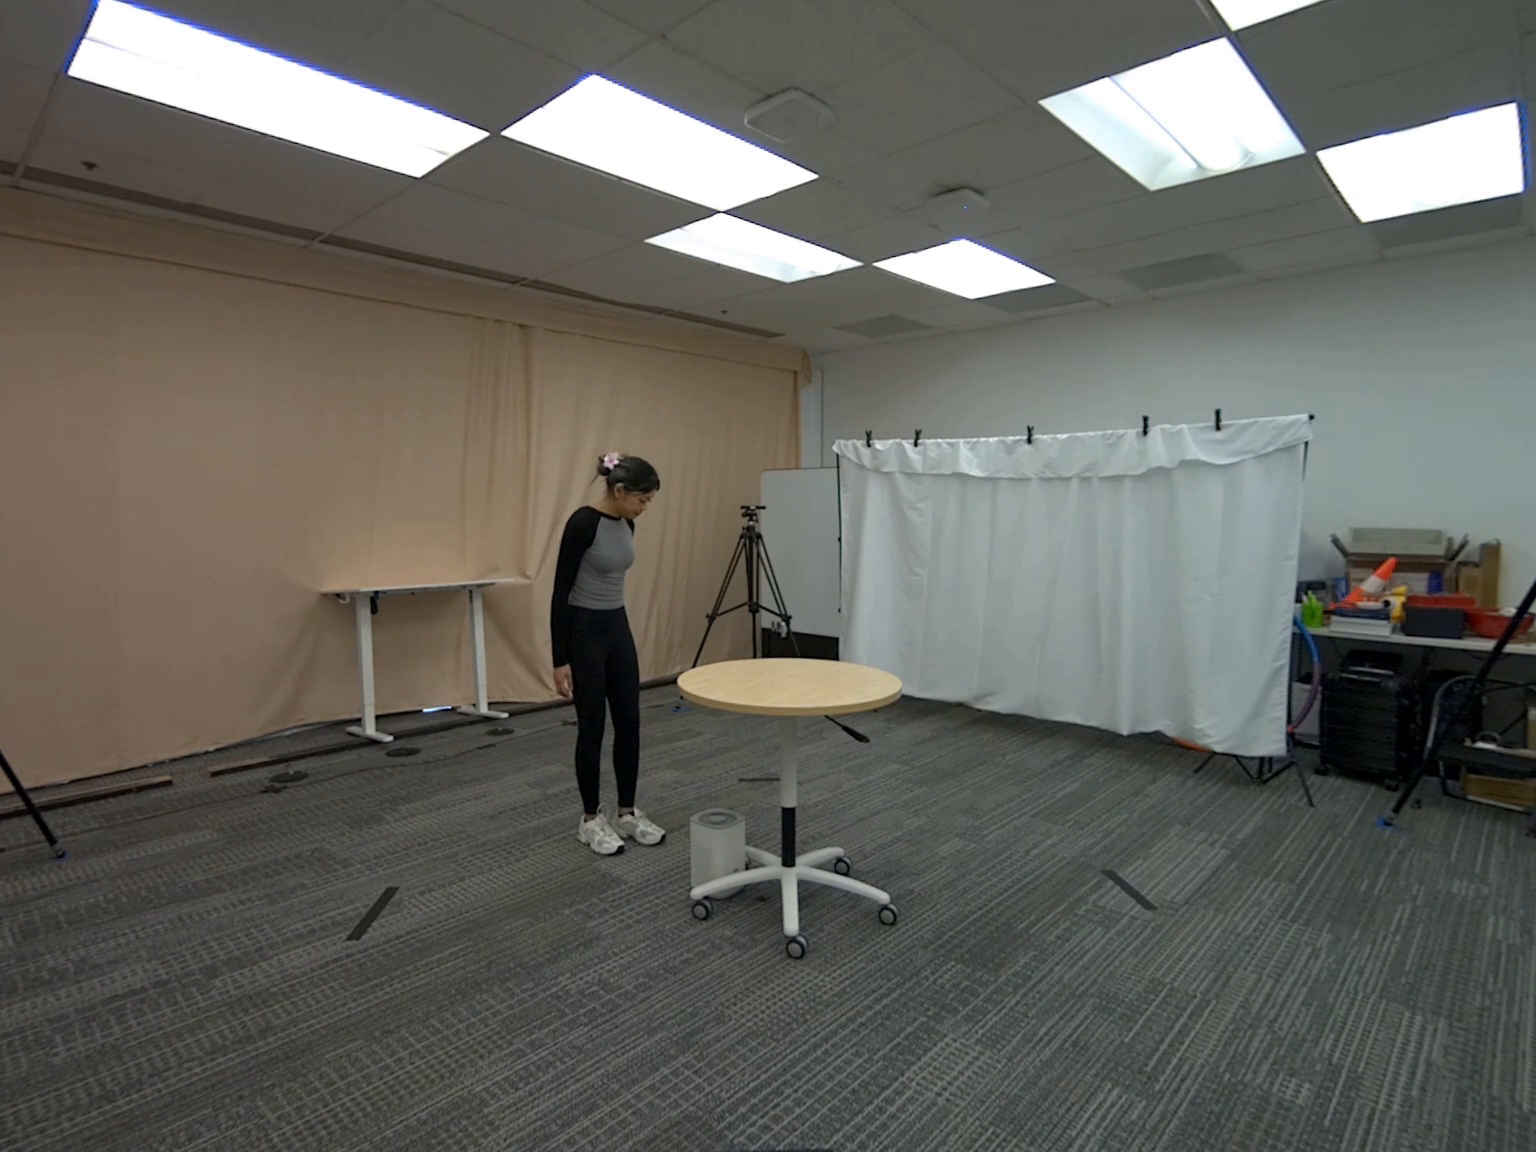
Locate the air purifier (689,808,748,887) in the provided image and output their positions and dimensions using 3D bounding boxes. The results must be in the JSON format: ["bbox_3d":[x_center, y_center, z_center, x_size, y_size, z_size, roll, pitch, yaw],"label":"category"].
[{"bbox_3d":[-0.184,1.006,3.048,0.177,0.265,0.166,3,5,38],"label":"air purifier"}]
